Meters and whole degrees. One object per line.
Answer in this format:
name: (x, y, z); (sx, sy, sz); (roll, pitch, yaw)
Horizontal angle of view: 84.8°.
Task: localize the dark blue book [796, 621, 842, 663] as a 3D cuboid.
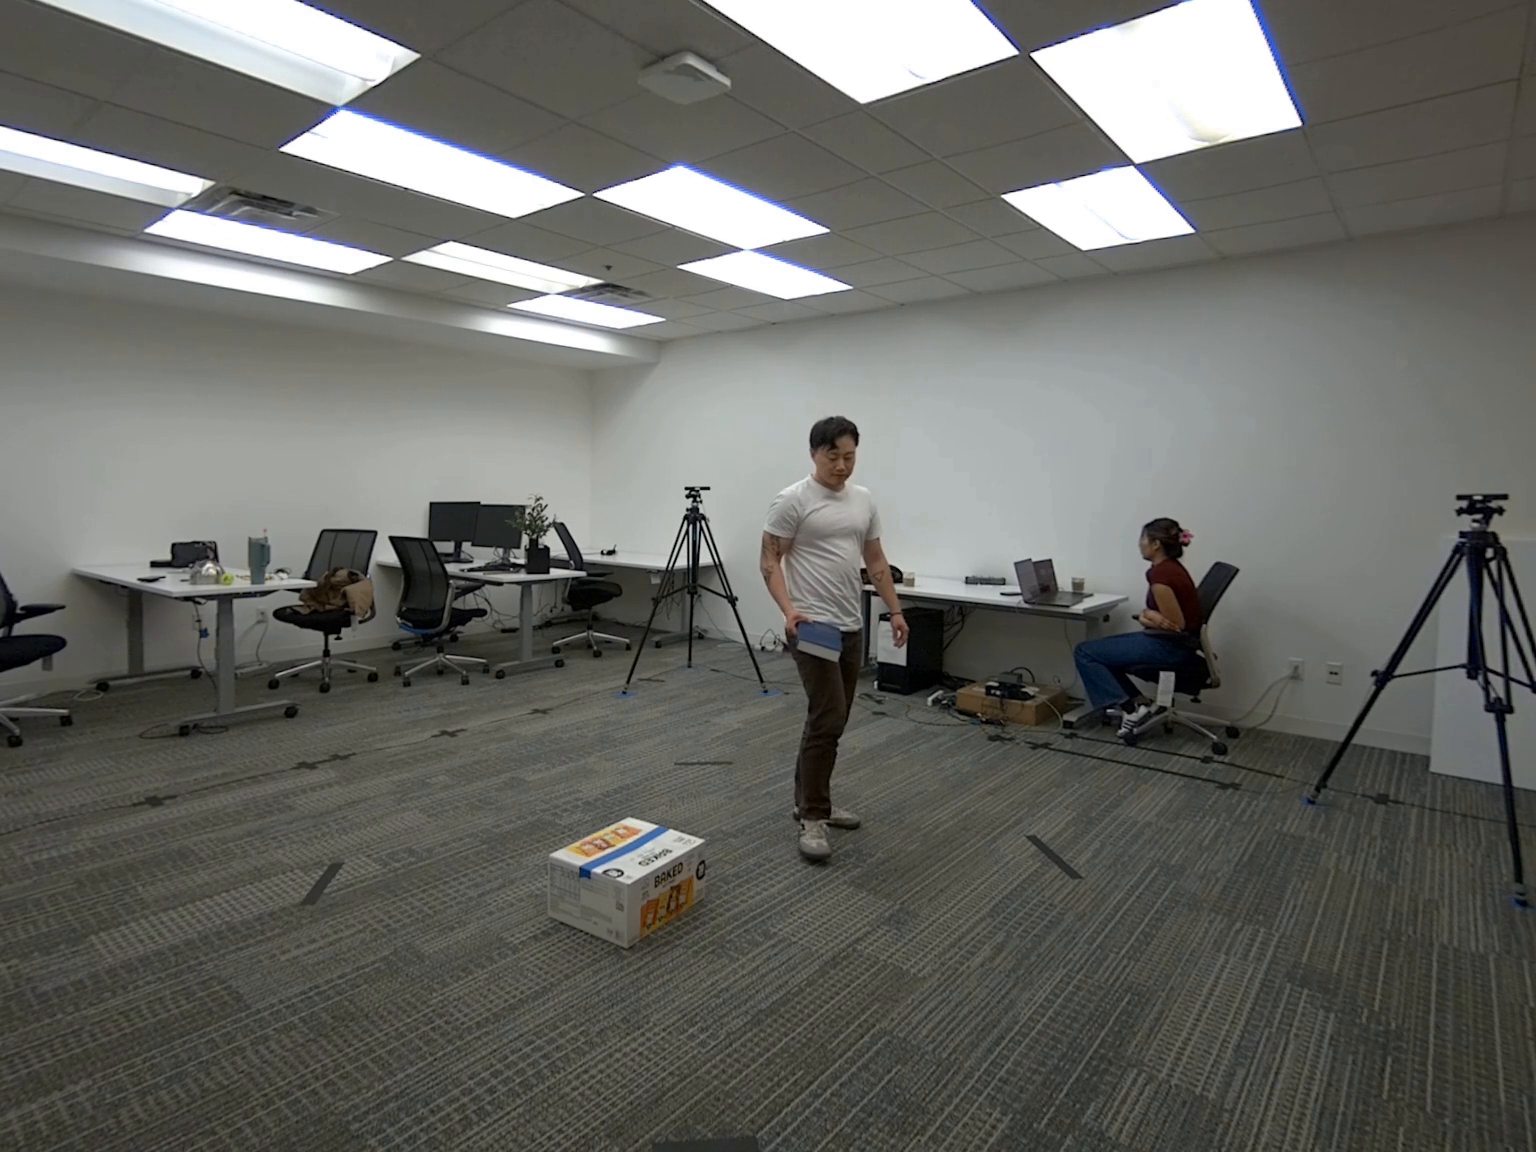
dark blue book: (0.185, 0.232, 3.136); (0.163, 0.045, 0.247); (16, 15, -1)
